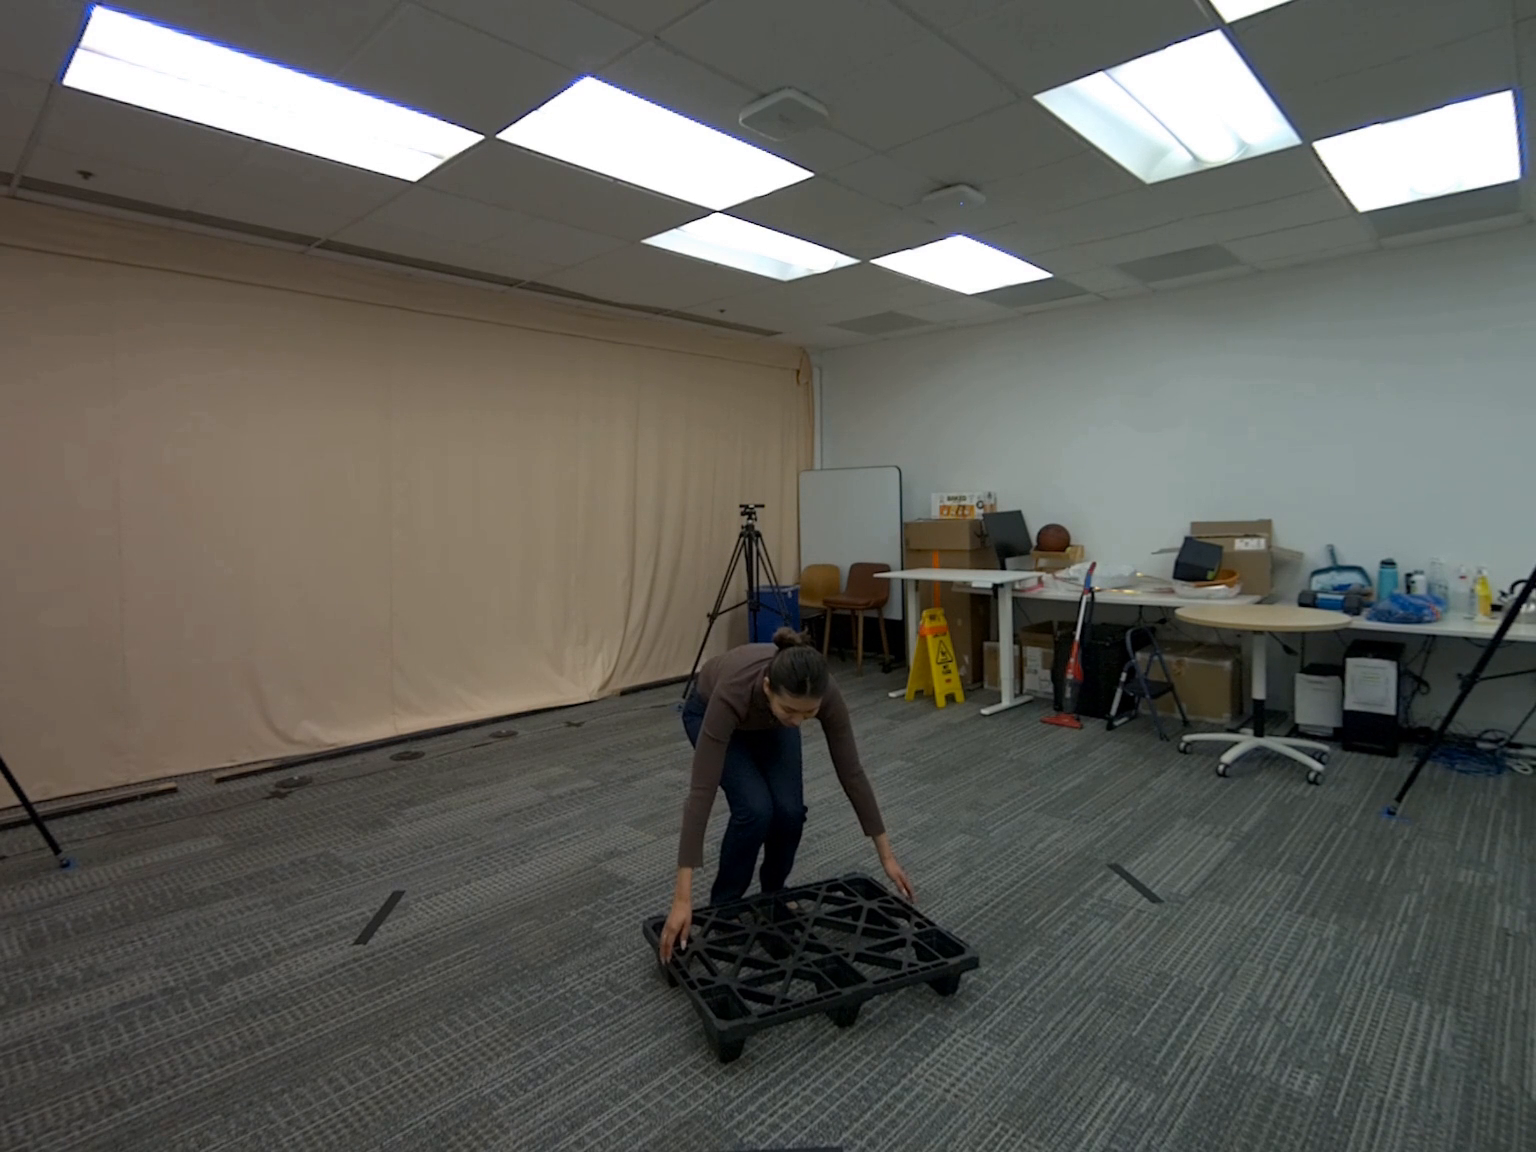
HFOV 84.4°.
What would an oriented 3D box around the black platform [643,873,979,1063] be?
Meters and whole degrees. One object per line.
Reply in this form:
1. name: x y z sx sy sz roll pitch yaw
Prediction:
1. black platform: 0.106 1.119 2.450 0.787 0.143 0.621 -3 5 -25
